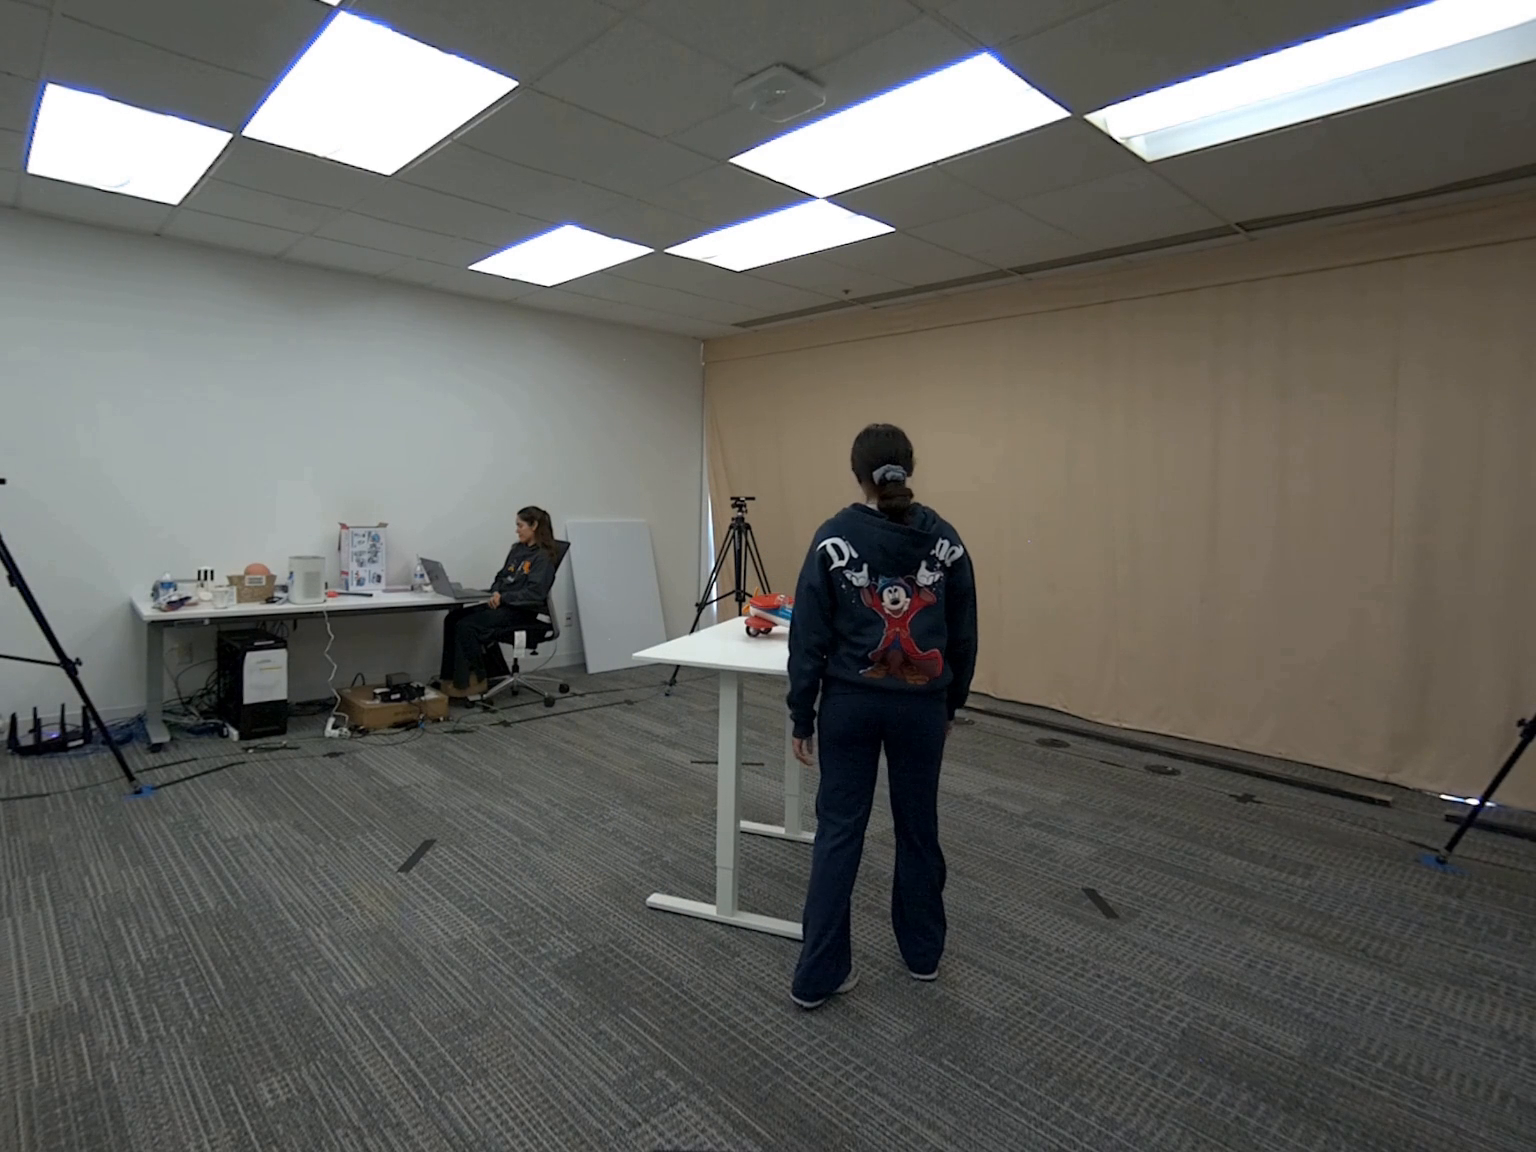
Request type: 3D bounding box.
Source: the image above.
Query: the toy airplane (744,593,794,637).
[{"bbox_3d":[0.039,0.152,3.131,0.260,0.156,0.251,0,5,2],"label":"toy airplane"}]
